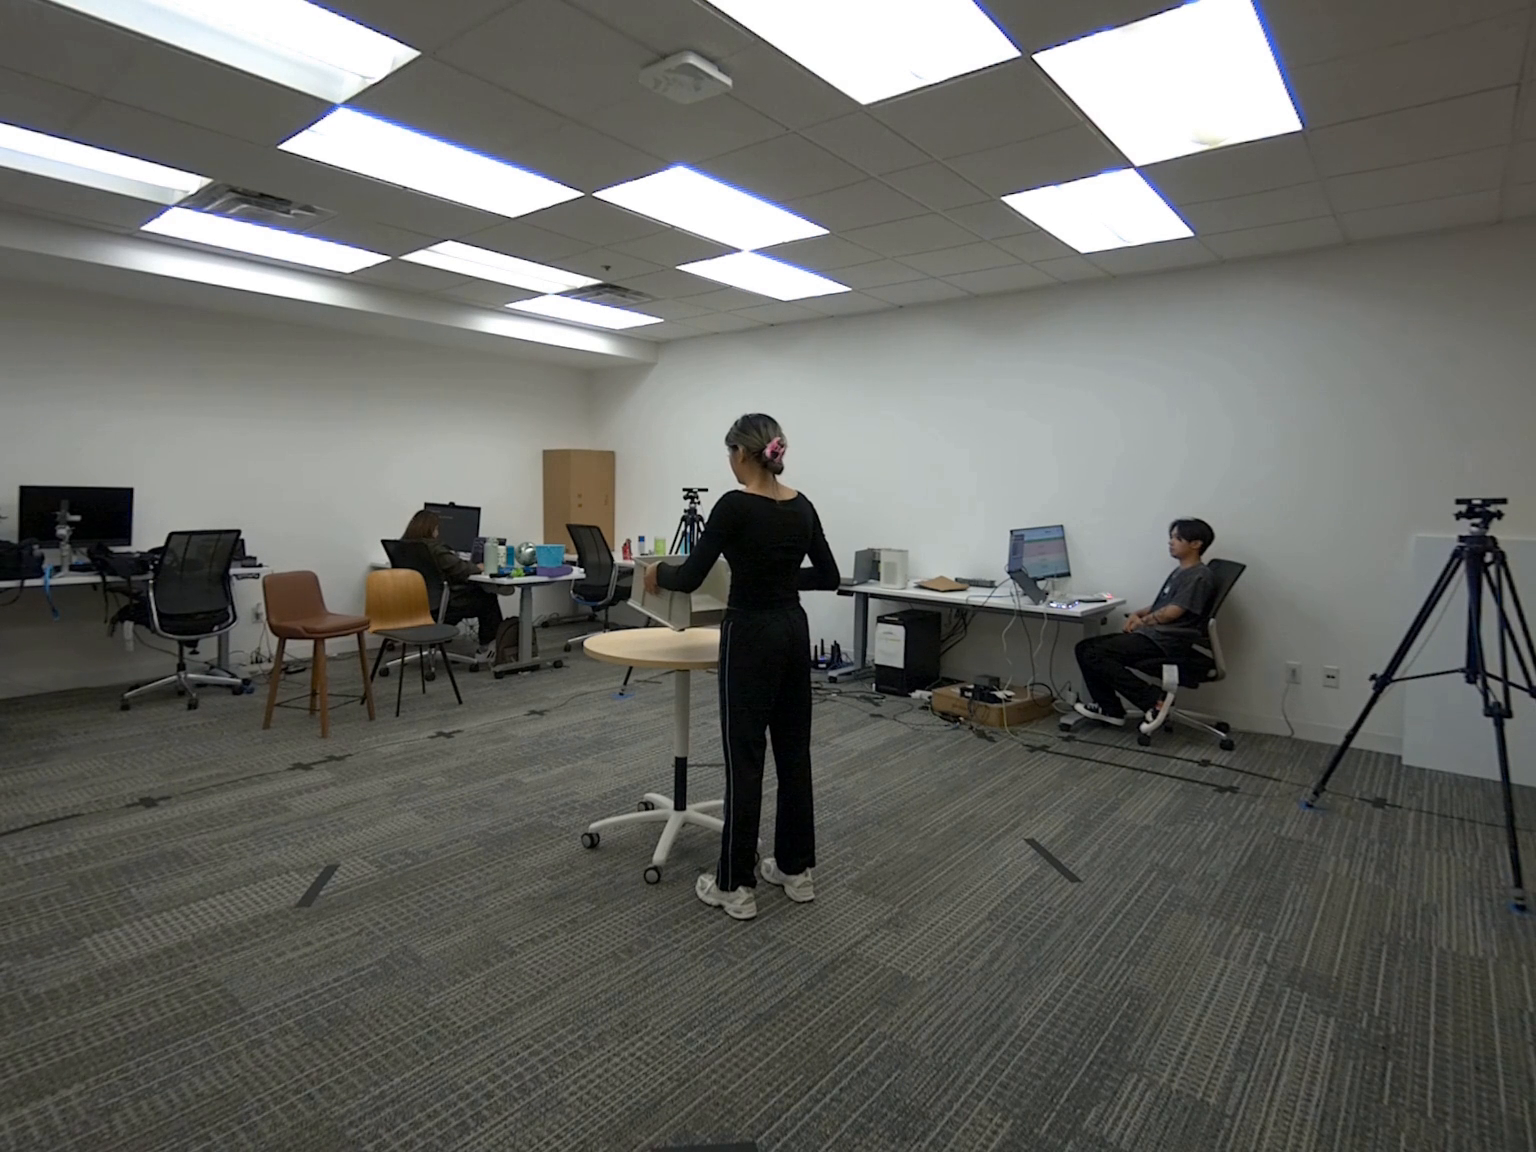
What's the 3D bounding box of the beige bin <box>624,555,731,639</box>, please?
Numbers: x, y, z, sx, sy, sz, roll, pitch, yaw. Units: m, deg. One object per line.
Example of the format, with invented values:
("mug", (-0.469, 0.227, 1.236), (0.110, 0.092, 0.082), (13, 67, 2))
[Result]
("beige bin", (-0.247, 0.058, 3.130), (0.410, 0.187, 0.392), (-4, 17, -41))
